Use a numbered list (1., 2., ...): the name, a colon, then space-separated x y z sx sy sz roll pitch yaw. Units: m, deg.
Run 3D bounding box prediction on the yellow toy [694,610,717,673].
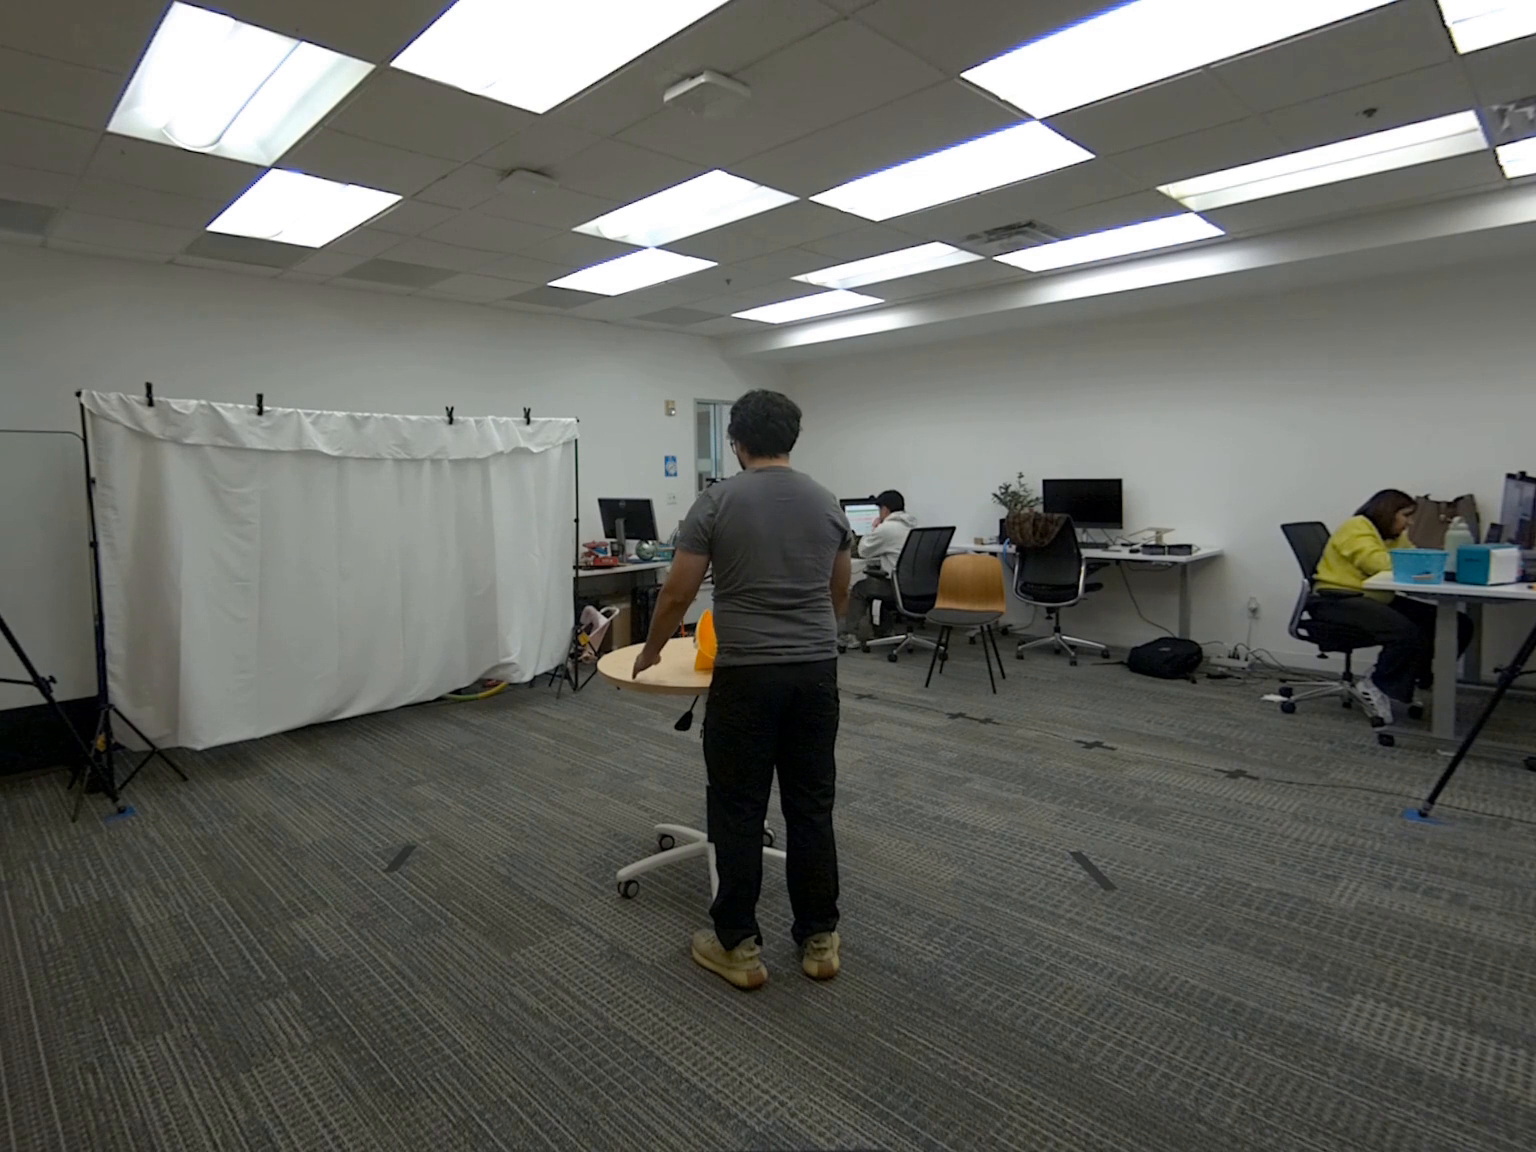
1. yellow toy: -0.163 0.208 2.824 0.201 0.194 0.233 -4 -6 -23
